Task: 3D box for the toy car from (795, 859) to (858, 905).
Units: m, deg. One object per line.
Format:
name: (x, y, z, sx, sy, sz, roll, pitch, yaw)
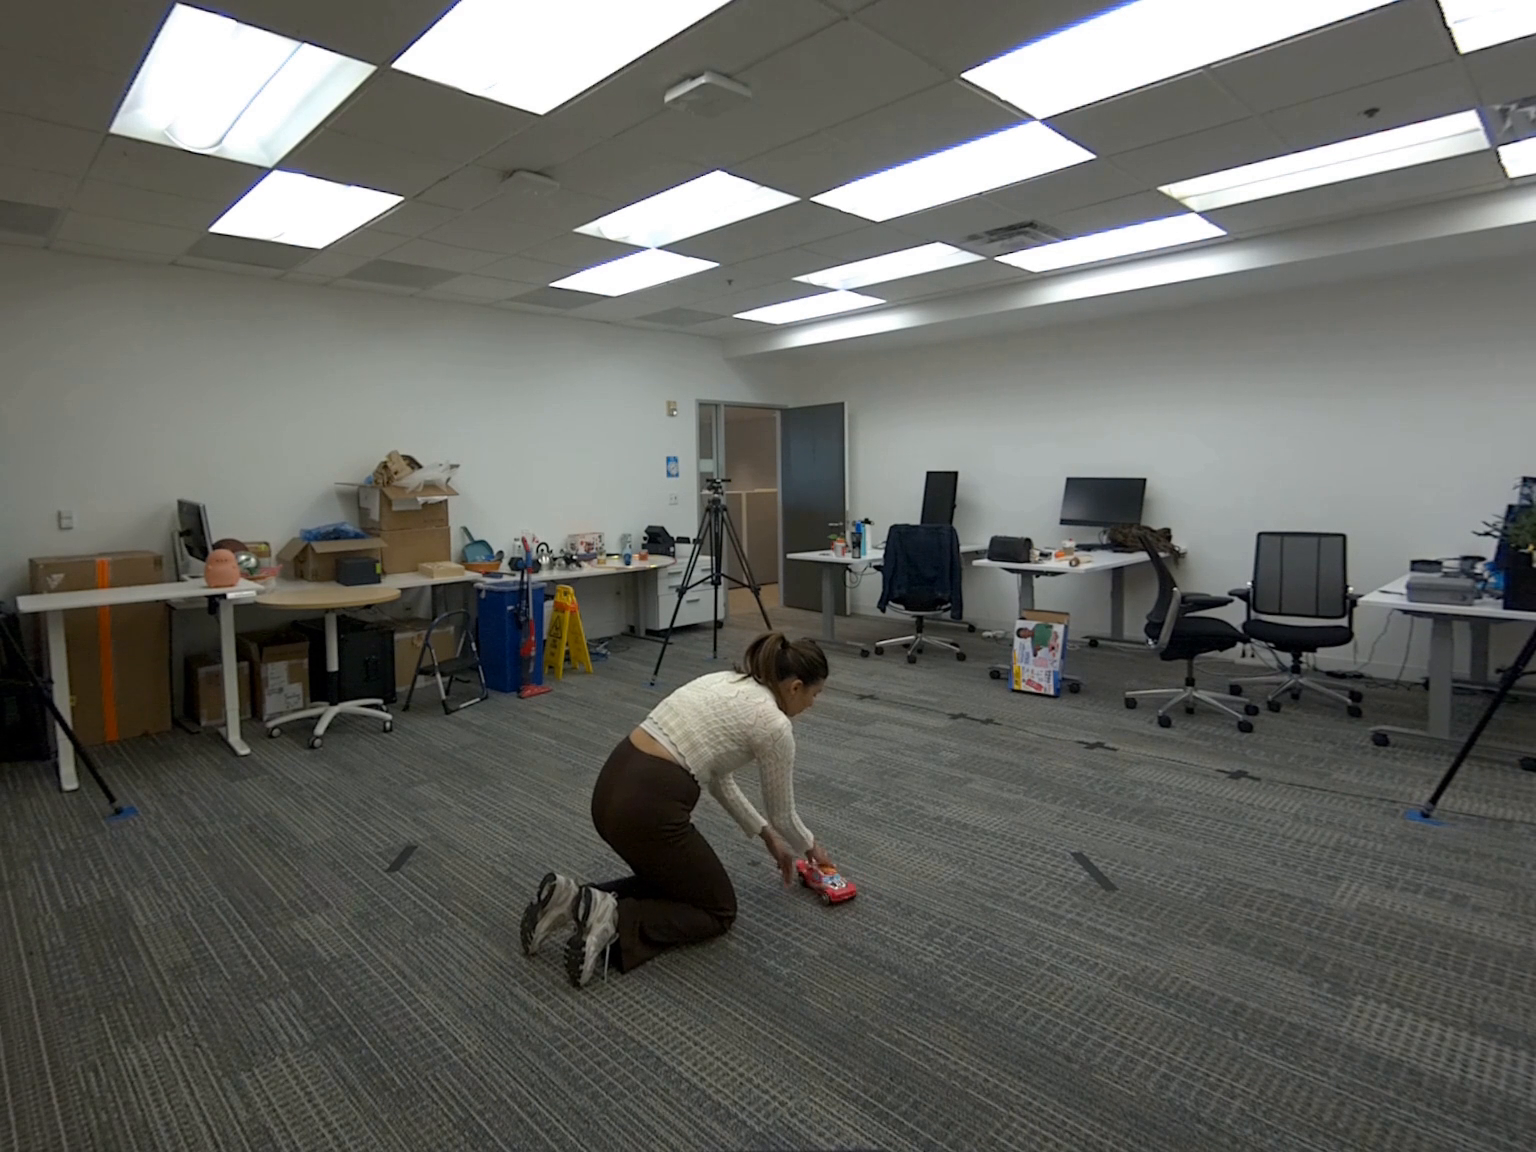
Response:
toy car: (0.194, 1.031, 2.891, 0.127, 0.082, 0.263, -3, 16, -26)
